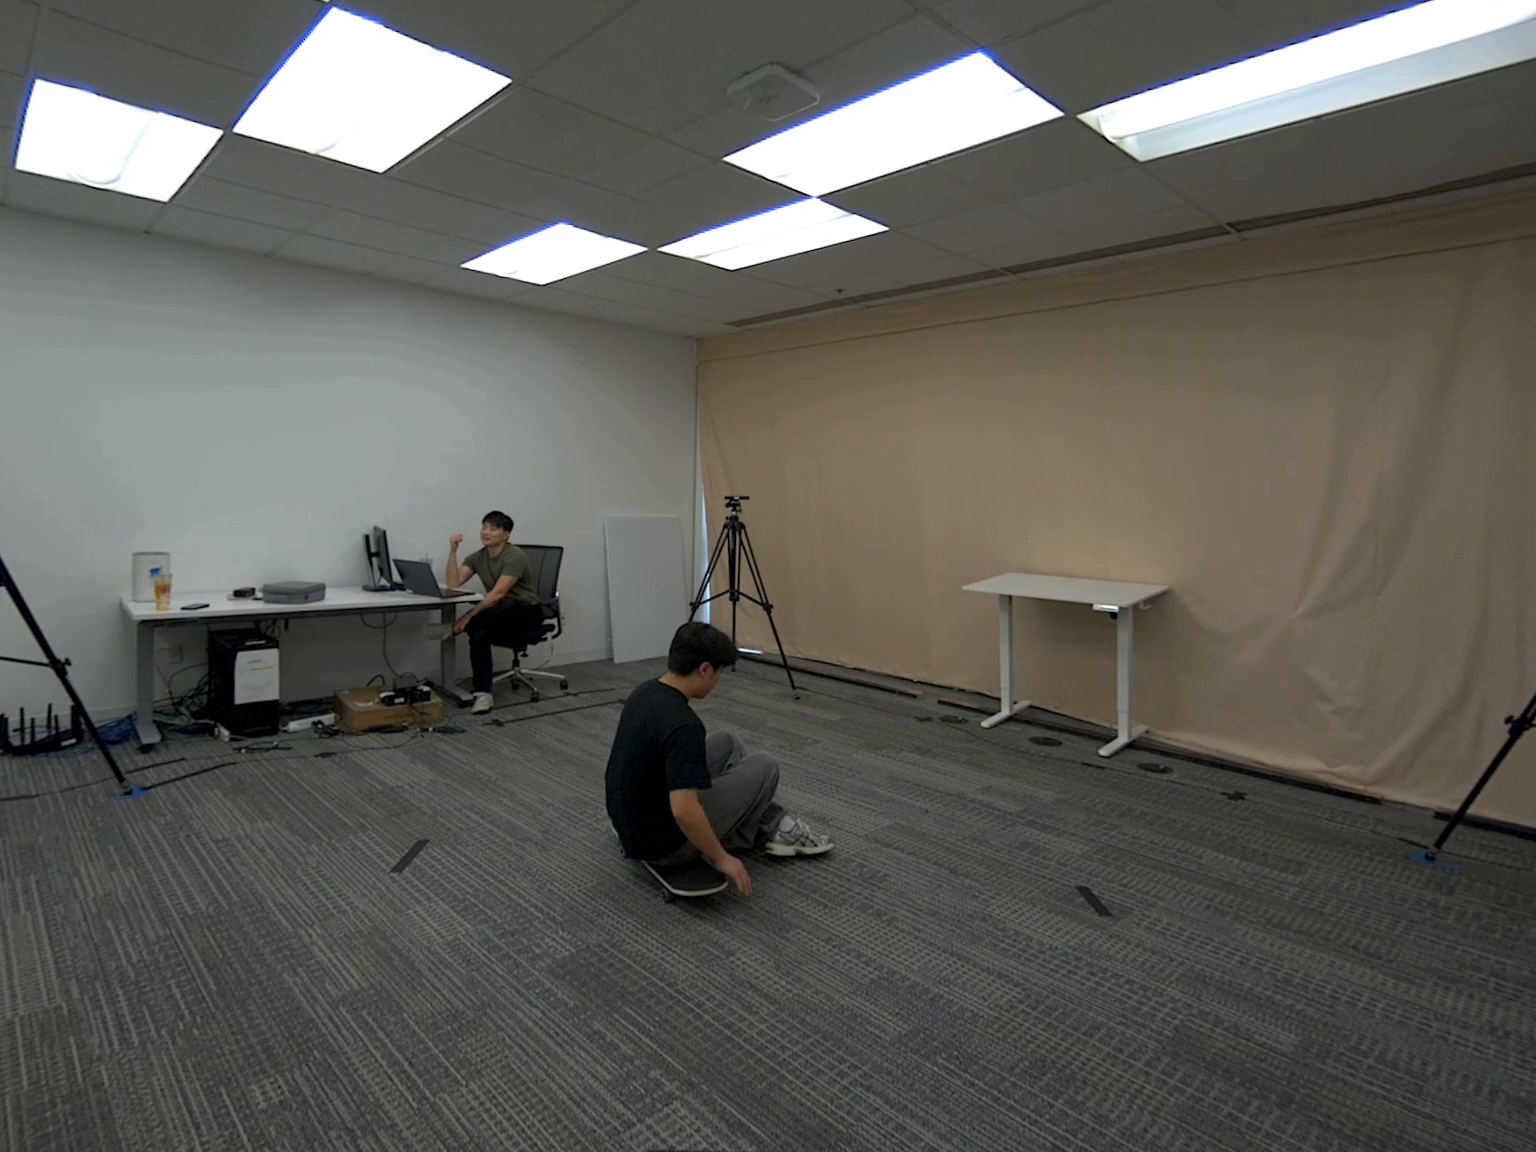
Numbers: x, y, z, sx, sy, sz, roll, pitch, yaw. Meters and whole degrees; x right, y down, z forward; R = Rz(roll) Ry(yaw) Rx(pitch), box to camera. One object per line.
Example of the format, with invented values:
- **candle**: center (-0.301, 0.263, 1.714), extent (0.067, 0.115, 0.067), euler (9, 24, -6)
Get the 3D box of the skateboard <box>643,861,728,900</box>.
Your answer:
- **skateboard**: center (-0.385, 1.045, 3.108), extent (0.190, 0.110, 0.803), euler (-6, 8, -29)
